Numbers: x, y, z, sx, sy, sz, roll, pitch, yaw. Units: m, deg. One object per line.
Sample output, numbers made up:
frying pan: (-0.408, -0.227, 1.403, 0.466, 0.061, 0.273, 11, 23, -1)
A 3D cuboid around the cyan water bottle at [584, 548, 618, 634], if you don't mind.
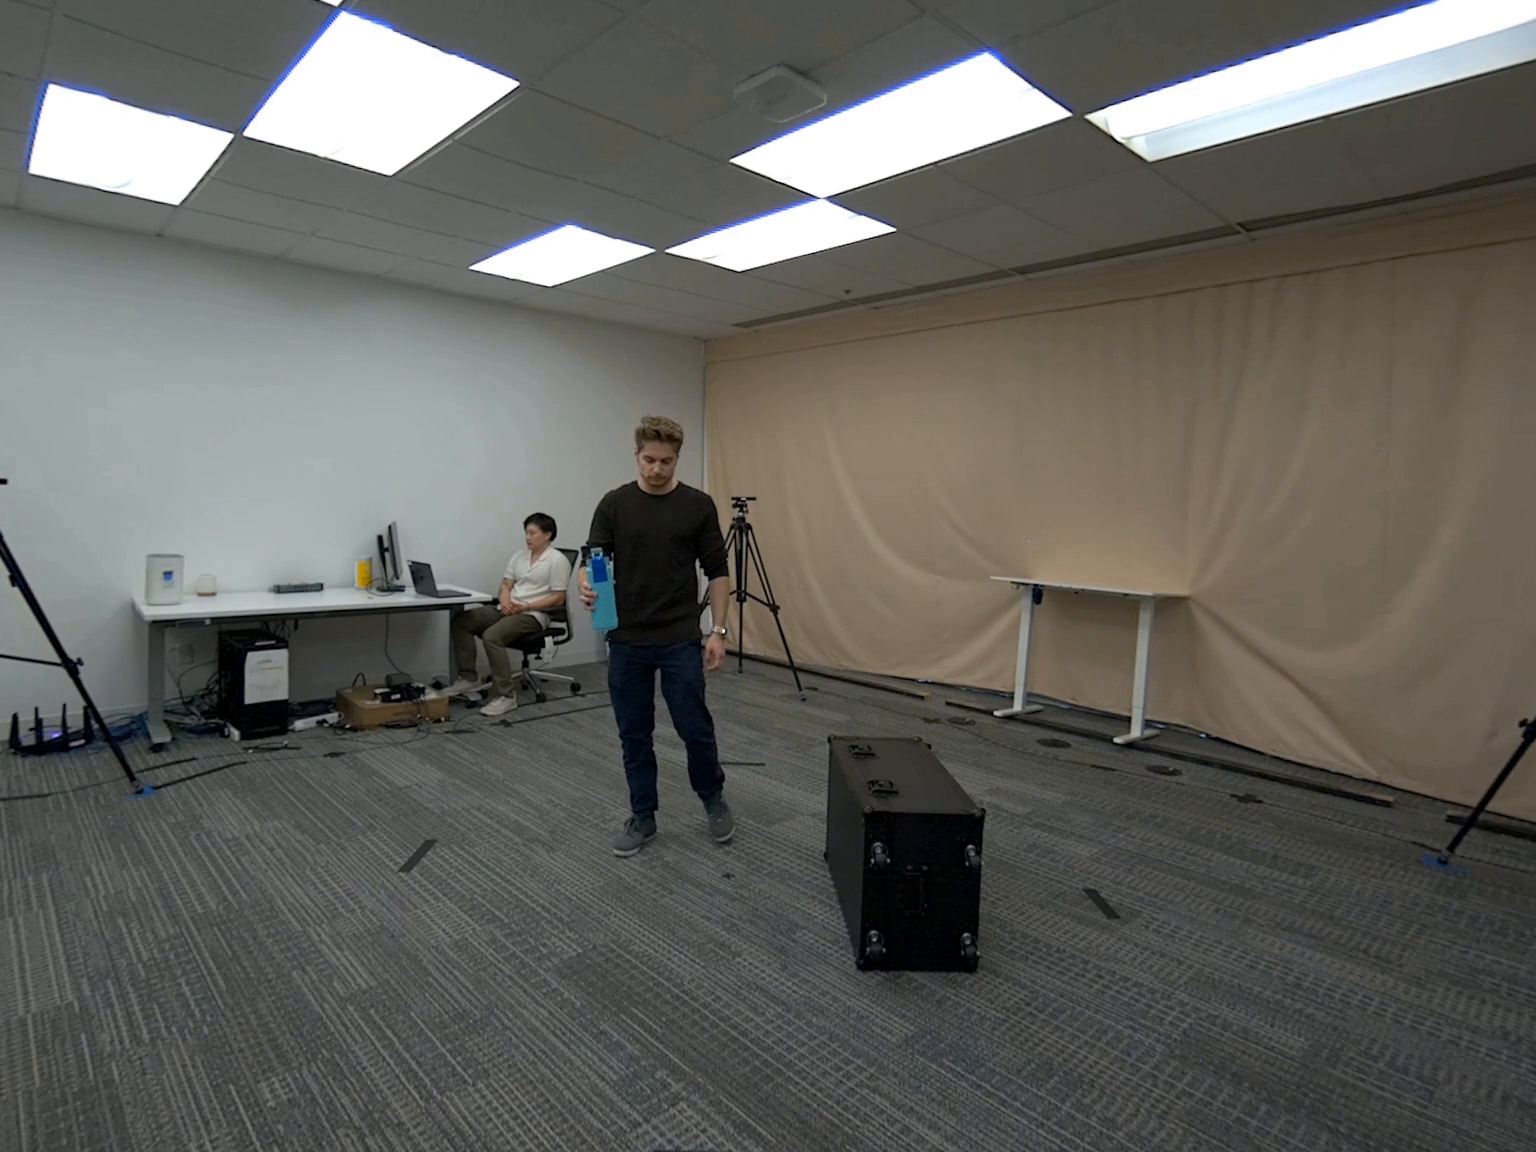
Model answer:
cyan water bottle: (-0.592, 0.045, 2.946, 0.092, 0.281, 0.093, 0, 12, -1)
